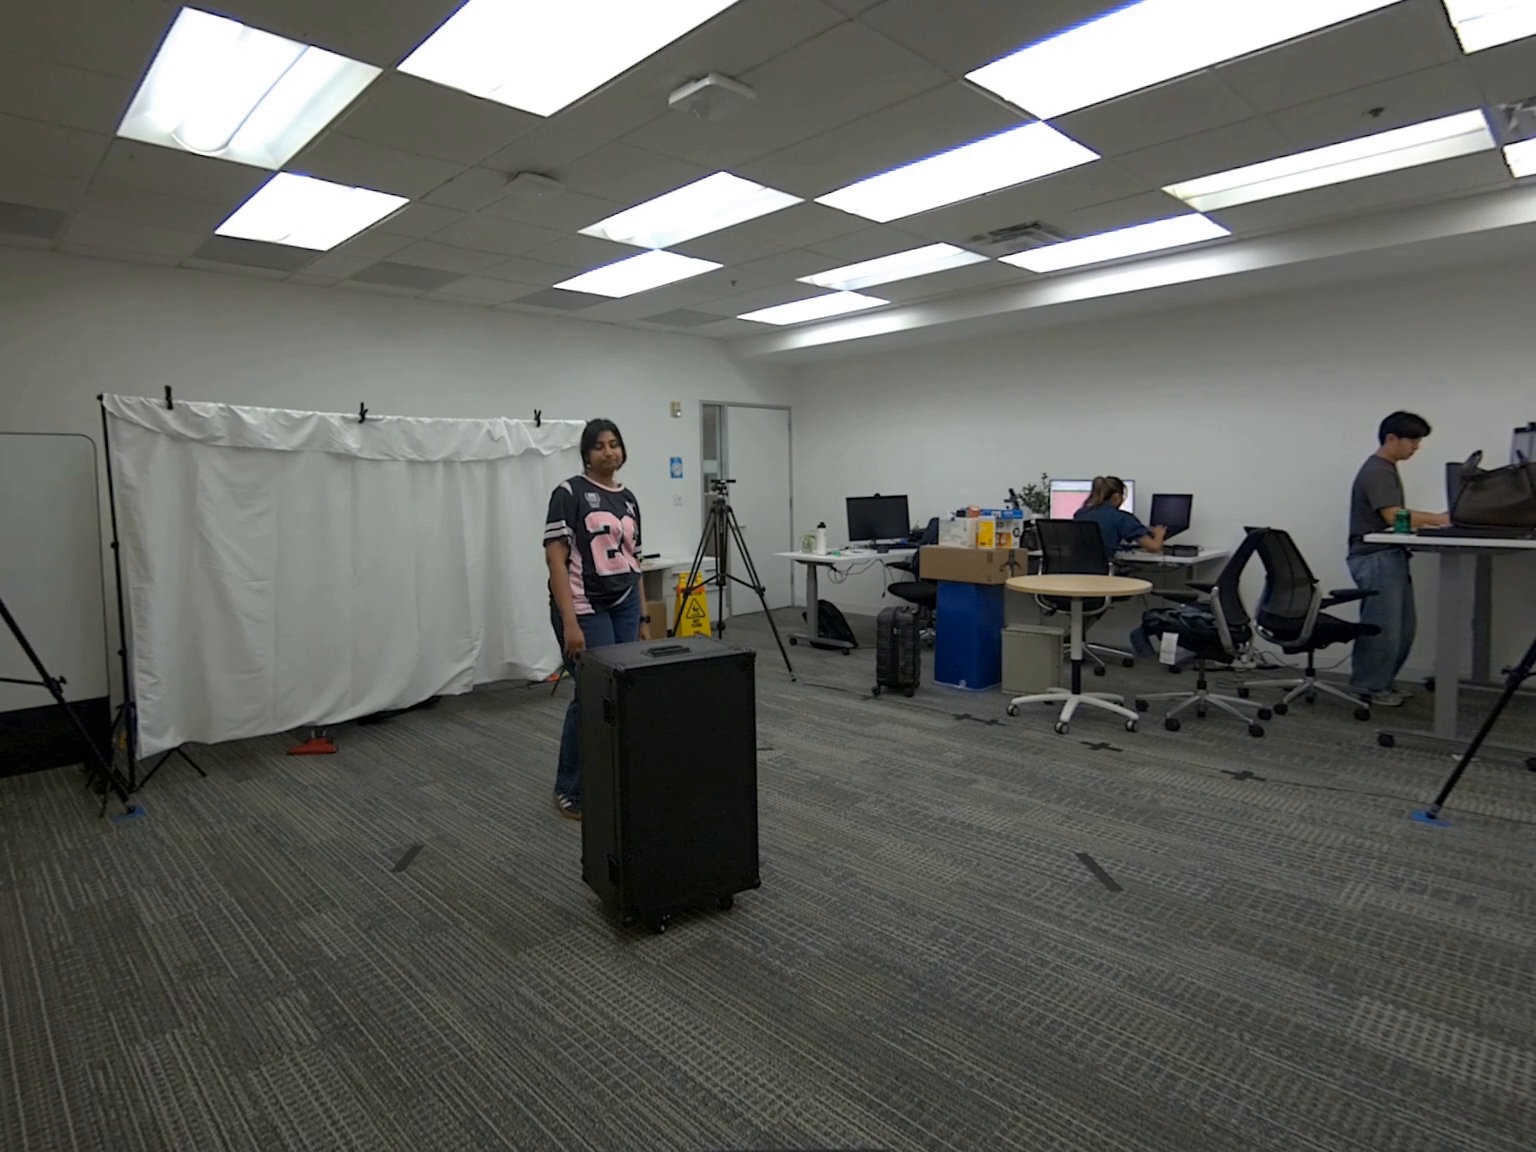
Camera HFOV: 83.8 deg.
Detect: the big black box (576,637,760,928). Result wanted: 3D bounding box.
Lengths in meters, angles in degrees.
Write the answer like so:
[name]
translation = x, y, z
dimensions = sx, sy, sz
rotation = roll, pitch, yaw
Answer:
[big black box]
translation = -0.335, 0.667, 2.795
dimensions = 0.511, 0.865, 0.396
rotation = -4, 5, -31
